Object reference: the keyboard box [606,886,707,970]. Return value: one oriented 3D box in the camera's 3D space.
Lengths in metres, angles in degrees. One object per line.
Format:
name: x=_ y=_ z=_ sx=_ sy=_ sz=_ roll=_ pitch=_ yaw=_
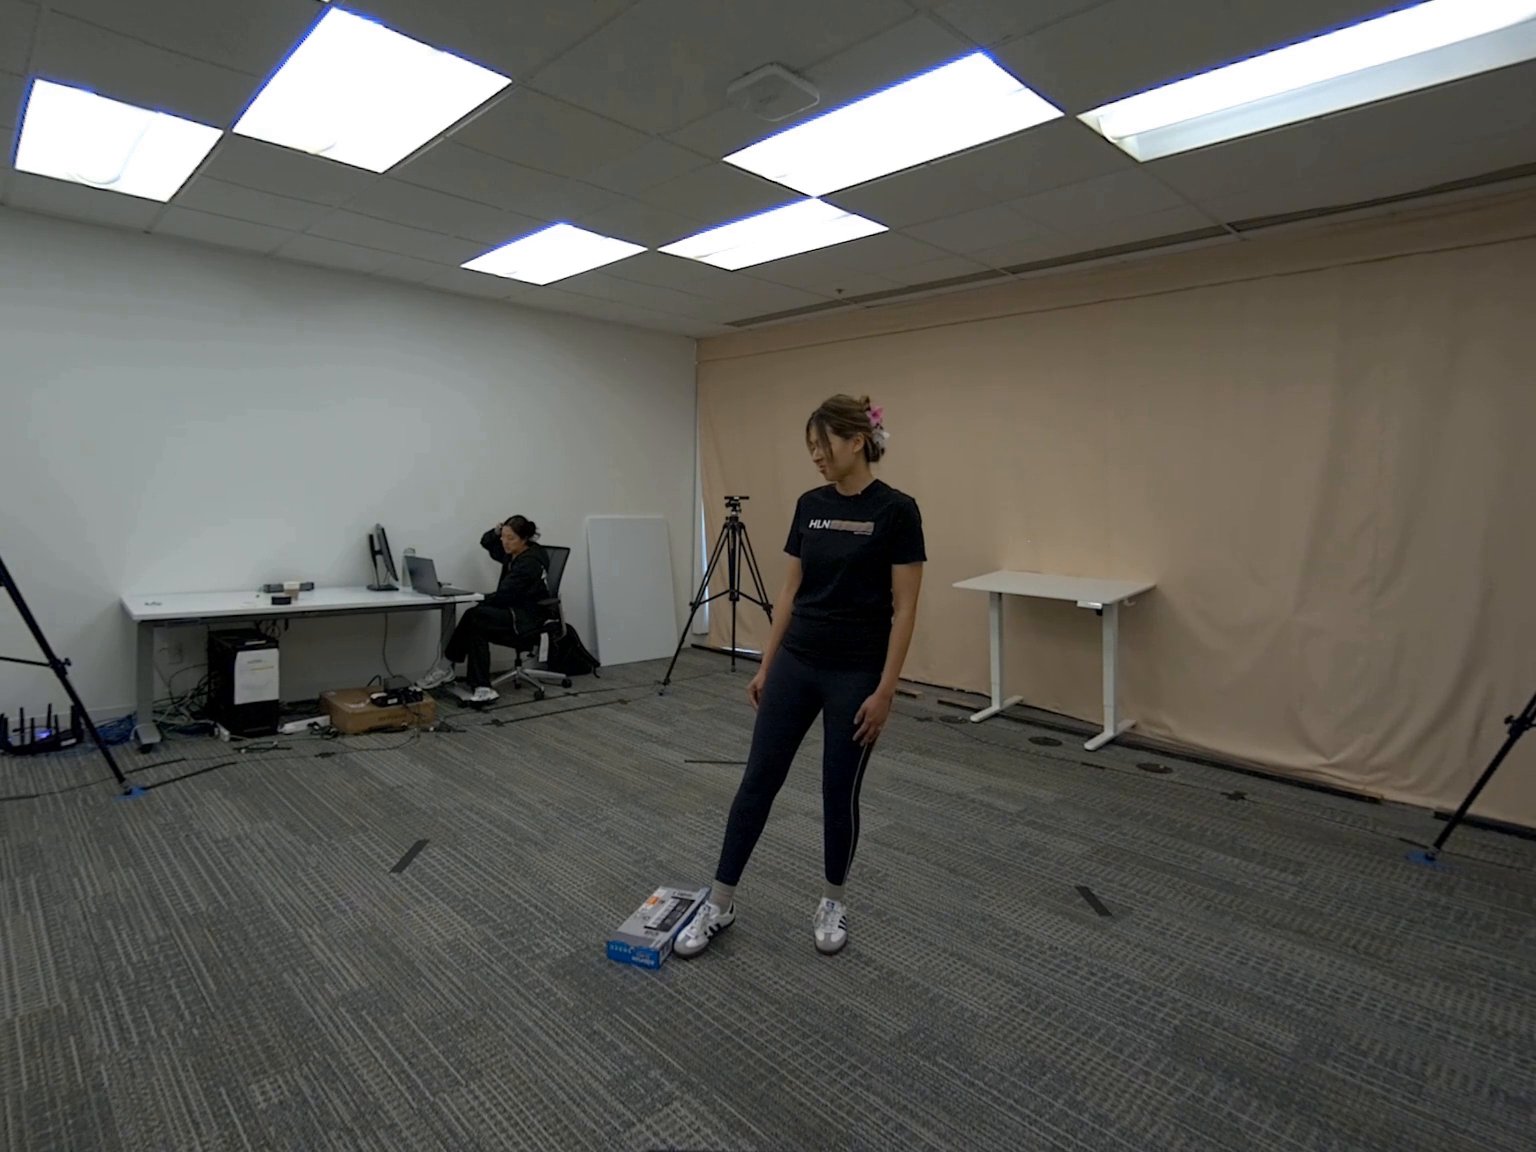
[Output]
keyboard box: x=-0.341 y=1.106 z=2.697 sx=0.178 sy=0.059 sz=0.431 roll=2 pitch=5 yaw=18
